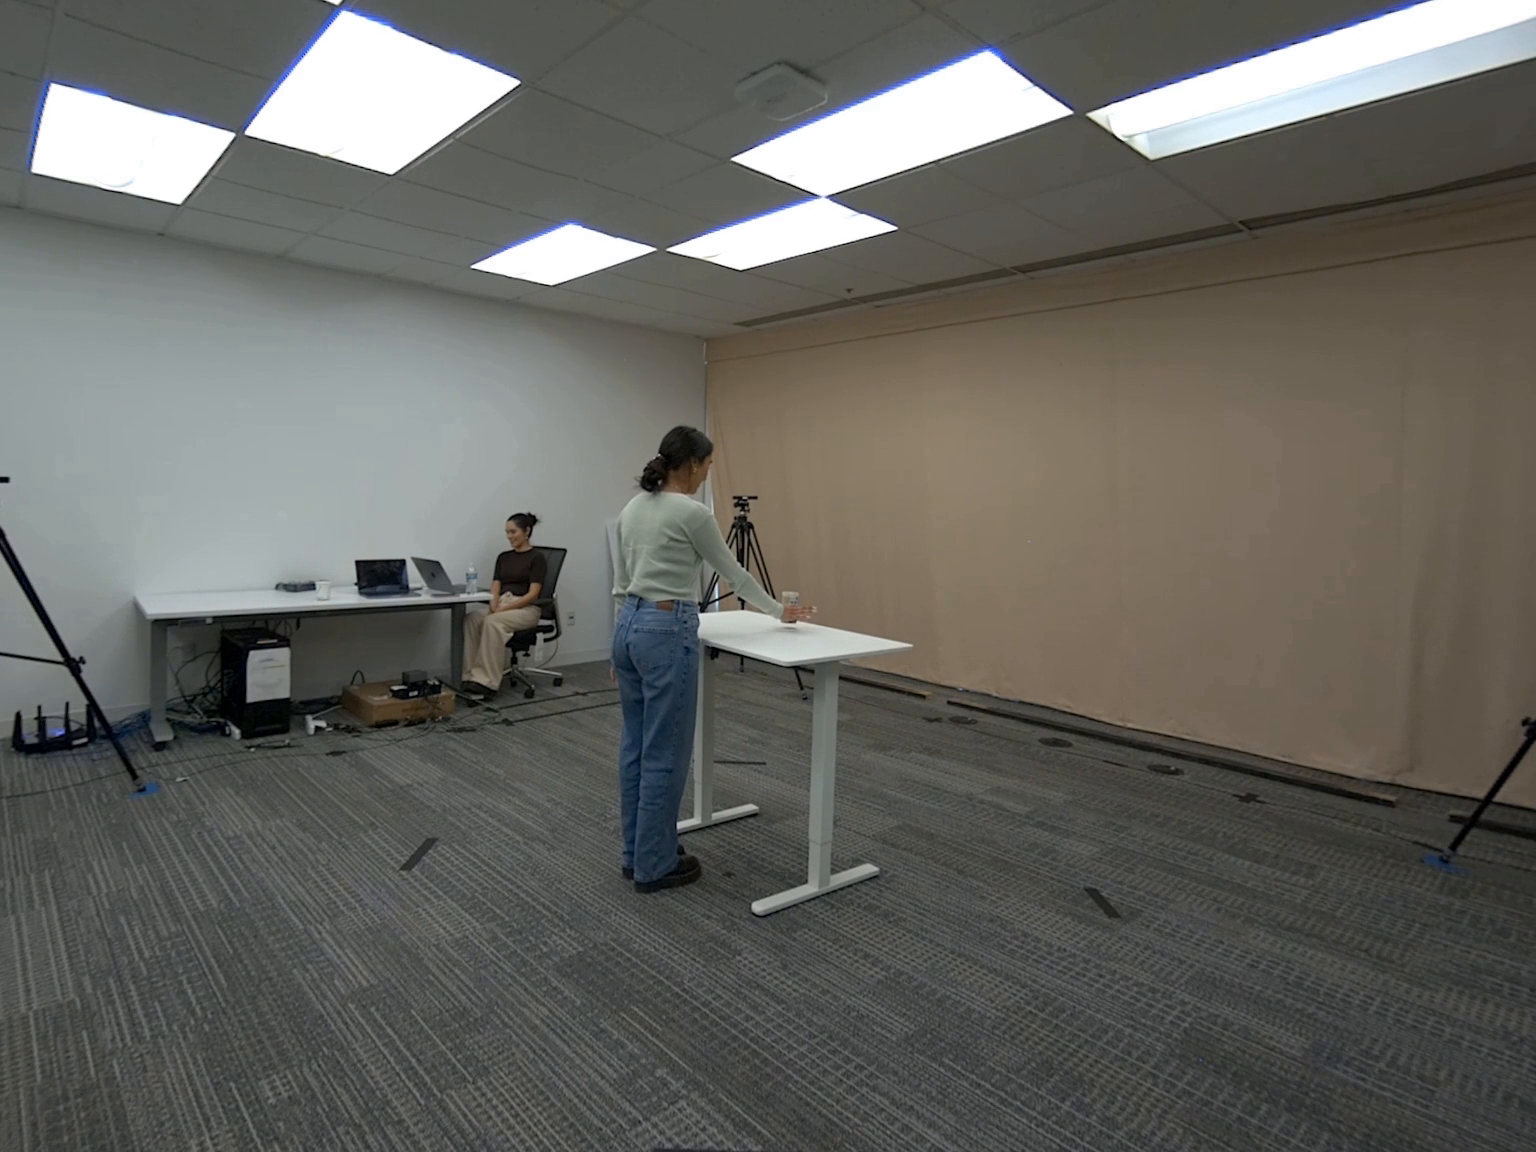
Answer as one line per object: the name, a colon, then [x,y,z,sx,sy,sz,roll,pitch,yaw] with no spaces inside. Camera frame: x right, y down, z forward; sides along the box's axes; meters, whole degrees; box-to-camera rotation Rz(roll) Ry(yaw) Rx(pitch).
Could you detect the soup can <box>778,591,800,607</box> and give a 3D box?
soup can: [0.078,0.124,3.309,0.067,0.121,0.067,2,4,-2]
